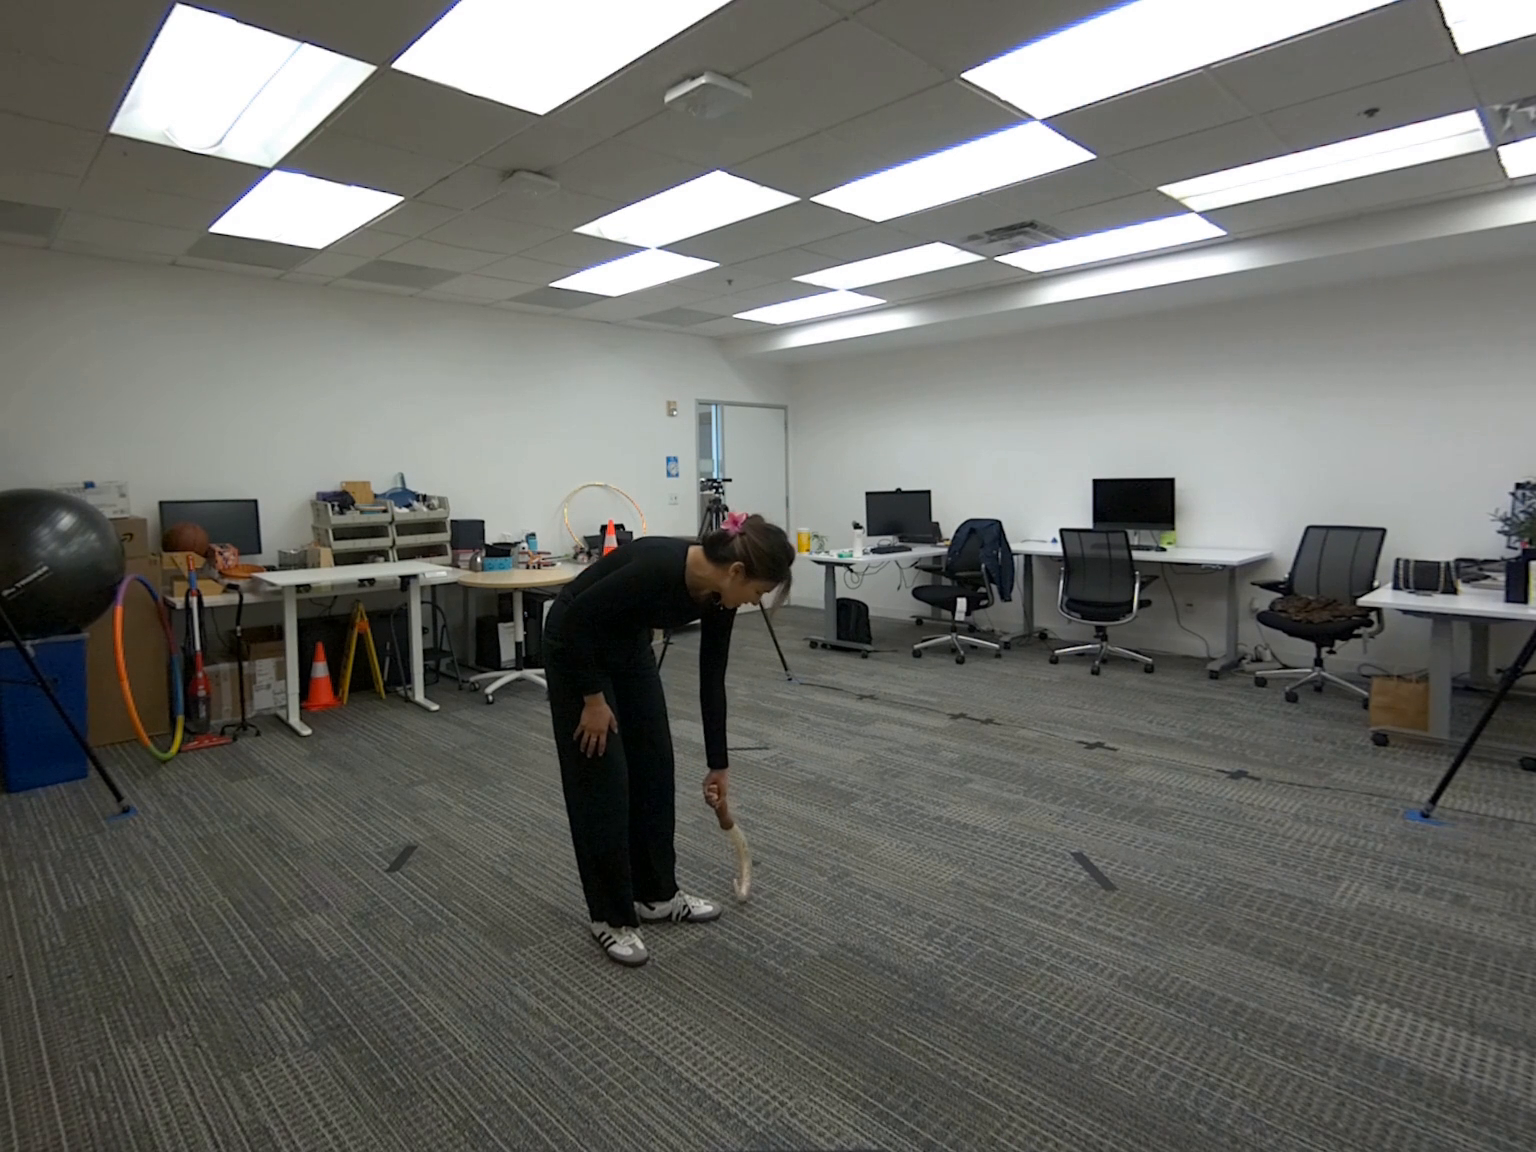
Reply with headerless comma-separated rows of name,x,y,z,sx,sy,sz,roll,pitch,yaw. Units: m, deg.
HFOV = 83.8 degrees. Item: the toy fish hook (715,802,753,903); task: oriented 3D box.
toy fish hook,-0.113,0.861,2.732,0.048,0.490,0.230,-9,39,8
